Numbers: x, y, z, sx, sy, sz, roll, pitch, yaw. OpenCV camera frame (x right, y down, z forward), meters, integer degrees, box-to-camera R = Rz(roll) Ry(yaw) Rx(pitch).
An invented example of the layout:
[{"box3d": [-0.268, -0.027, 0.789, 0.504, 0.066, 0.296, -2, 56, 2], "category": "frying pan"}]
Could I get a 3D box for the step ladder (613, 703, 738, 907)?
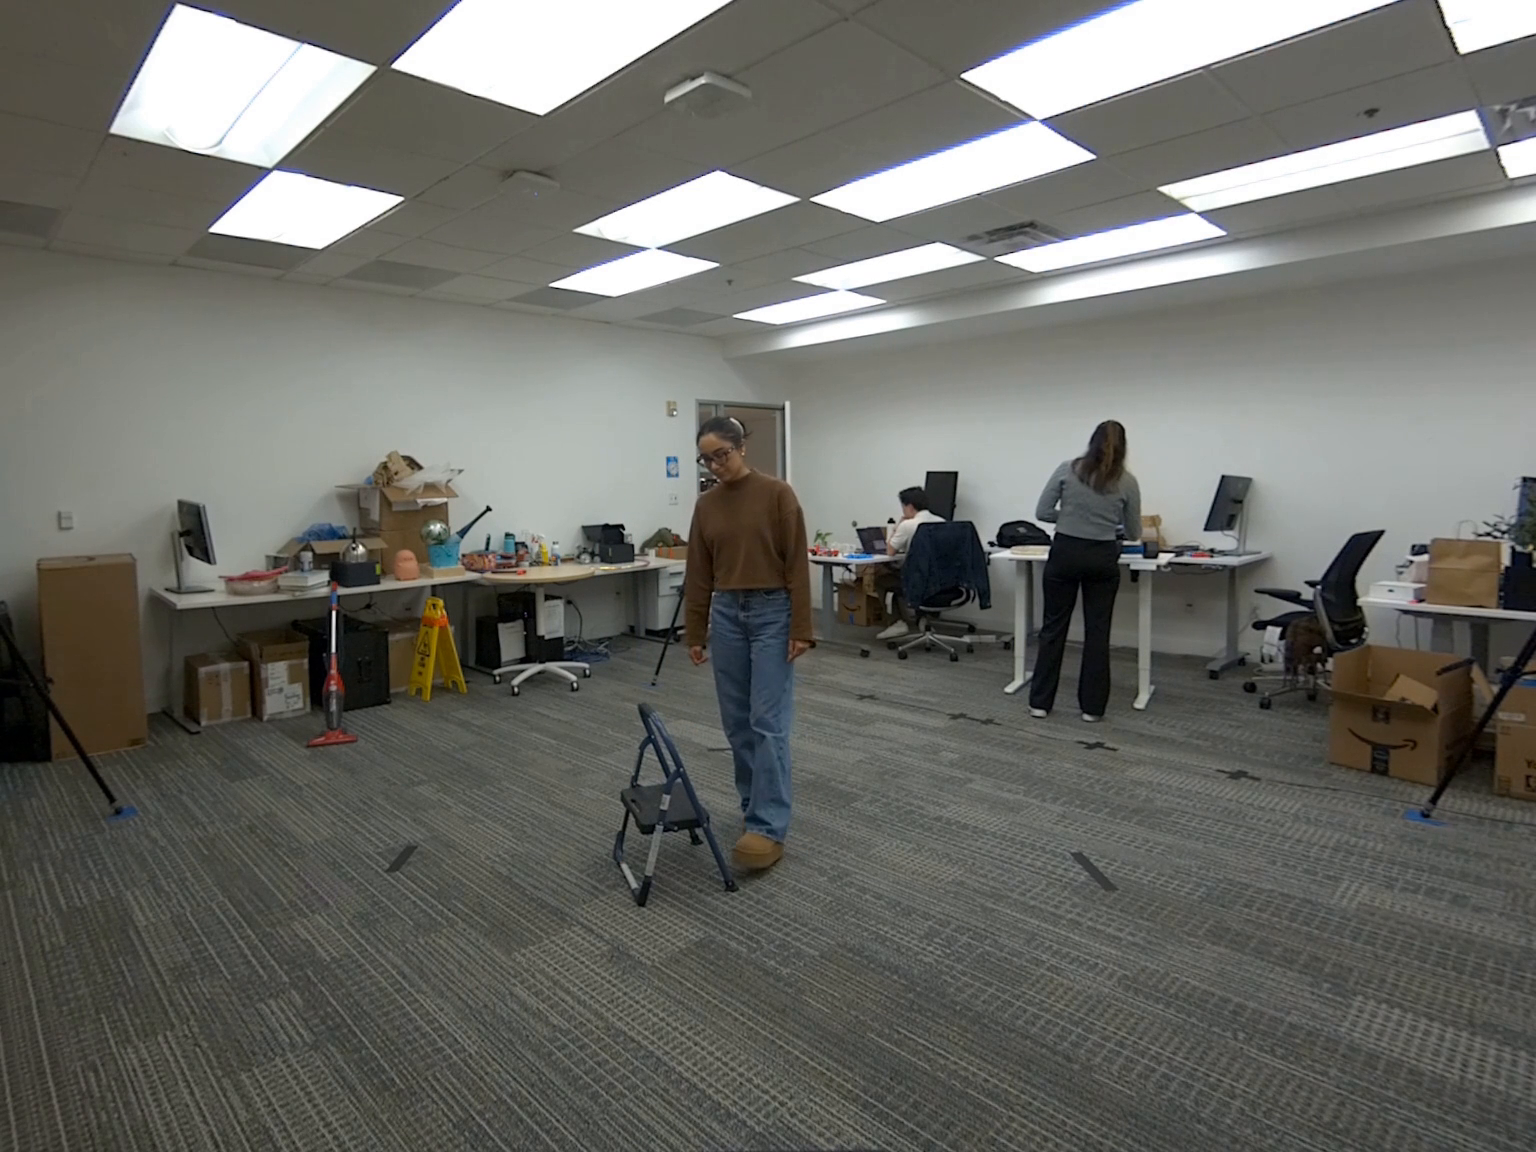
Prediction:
[{"box3d": [-0.340, 0.757, 3.029, 0.343, 0.604, 0.440, -2, 5, -22], "category": "step ladder"}]
